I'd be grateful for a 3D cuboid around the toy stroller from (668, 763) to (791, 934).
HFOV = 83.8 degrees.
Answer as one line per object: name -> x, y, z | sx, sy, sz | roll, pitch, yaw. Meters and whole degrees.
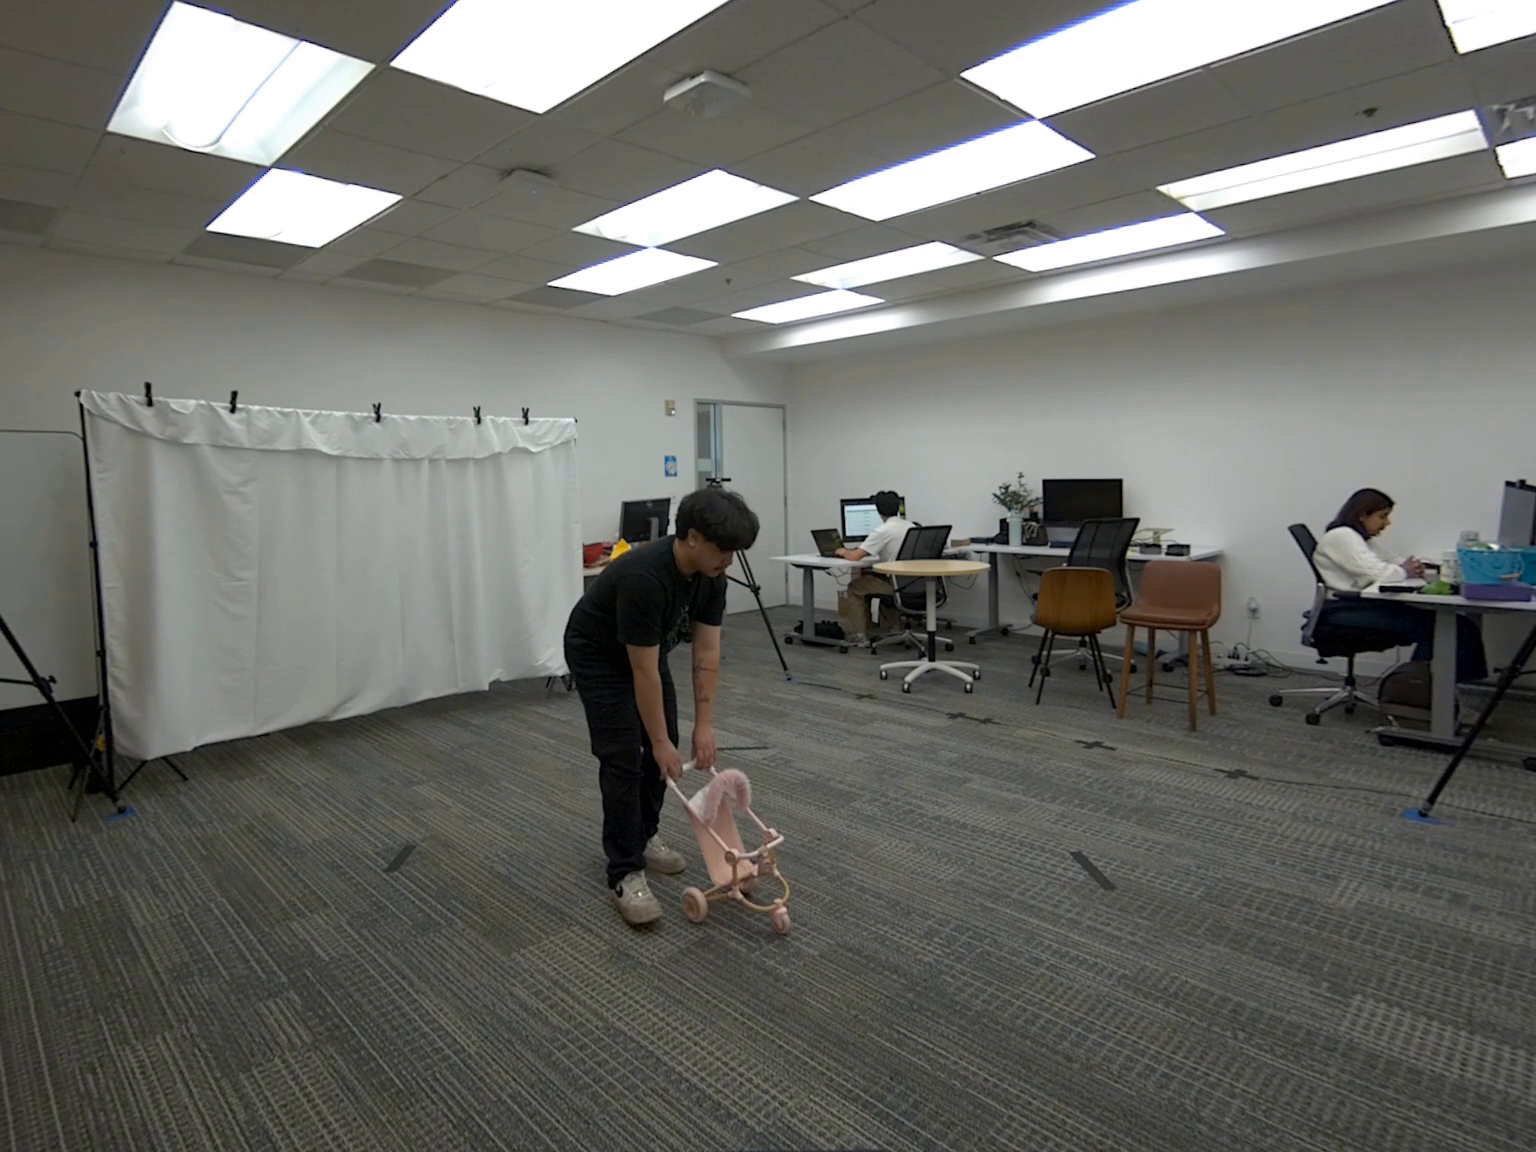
toy stroller -> -0.109, 0.859, 2.738 | 0.274, 0.539, 0.348 | -6, -9, -46
